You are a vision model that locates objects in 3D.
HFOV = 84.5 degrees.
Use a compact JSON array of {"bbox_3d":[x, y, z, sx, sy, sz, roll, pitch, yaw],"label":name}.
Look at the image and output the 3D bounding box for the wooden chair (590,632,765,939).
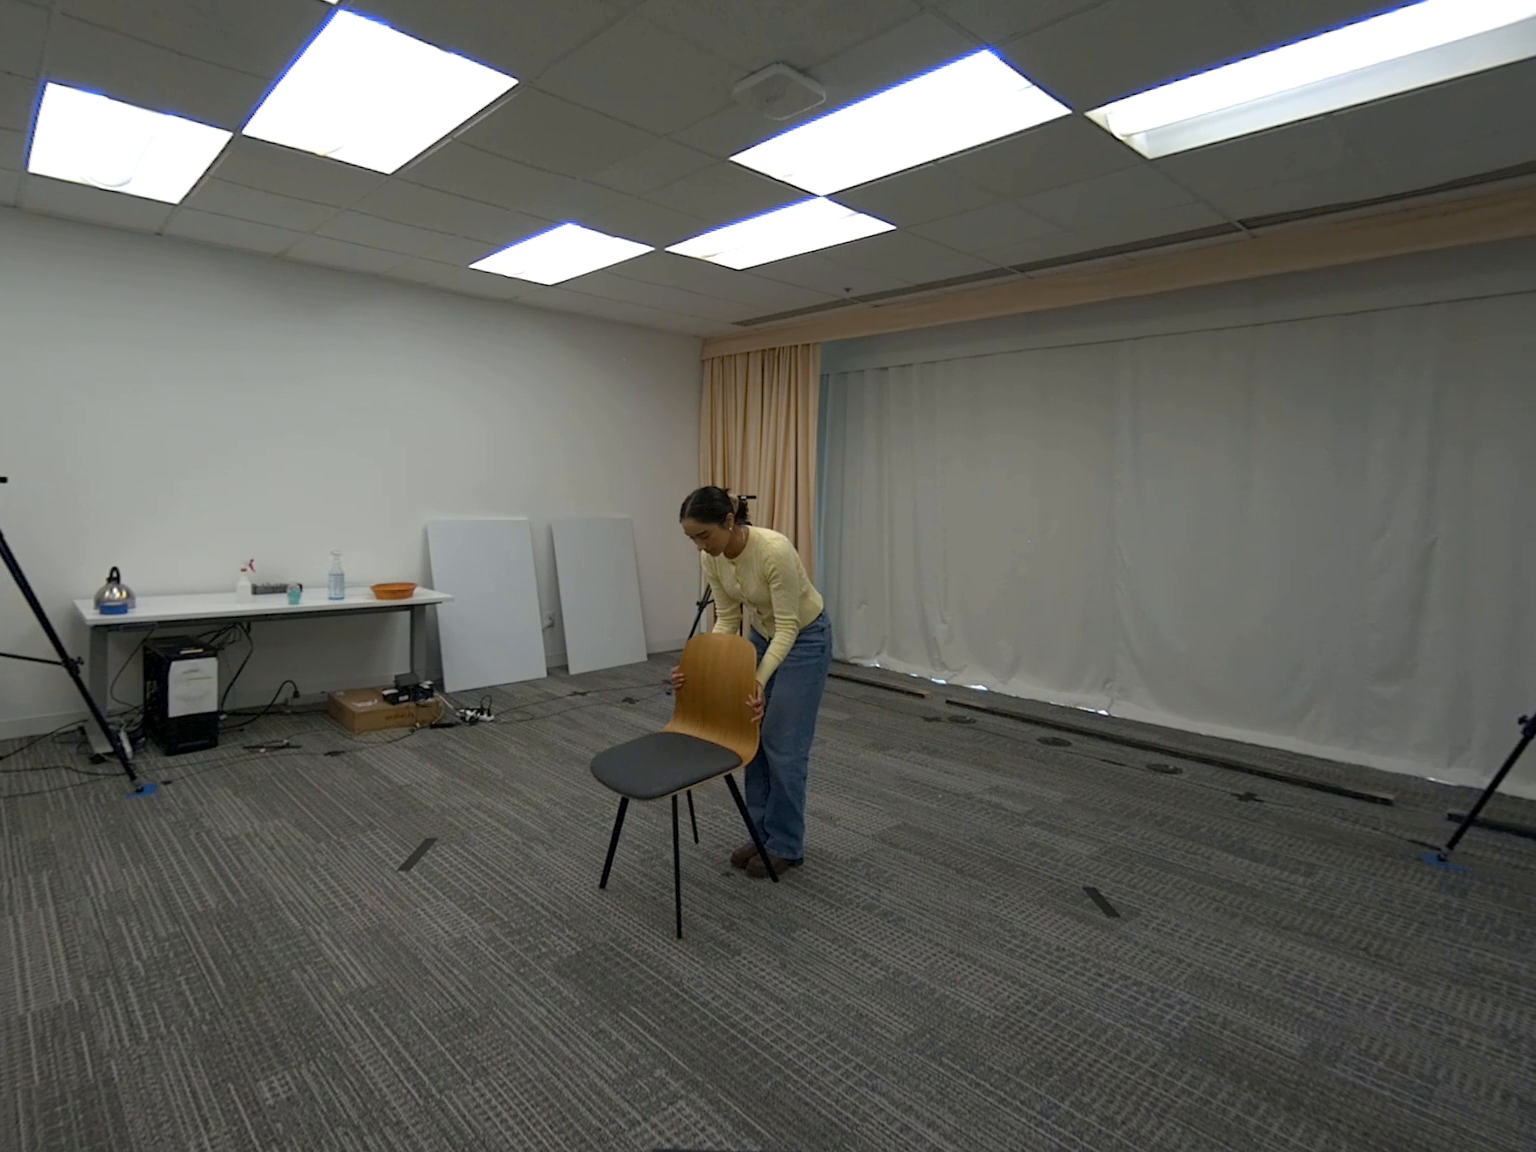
[{"bbox_3d":[-0.314,0.669,2.877,0.512,0.874,0.490,-5,7,-43],"label":"wooden chair"}]
